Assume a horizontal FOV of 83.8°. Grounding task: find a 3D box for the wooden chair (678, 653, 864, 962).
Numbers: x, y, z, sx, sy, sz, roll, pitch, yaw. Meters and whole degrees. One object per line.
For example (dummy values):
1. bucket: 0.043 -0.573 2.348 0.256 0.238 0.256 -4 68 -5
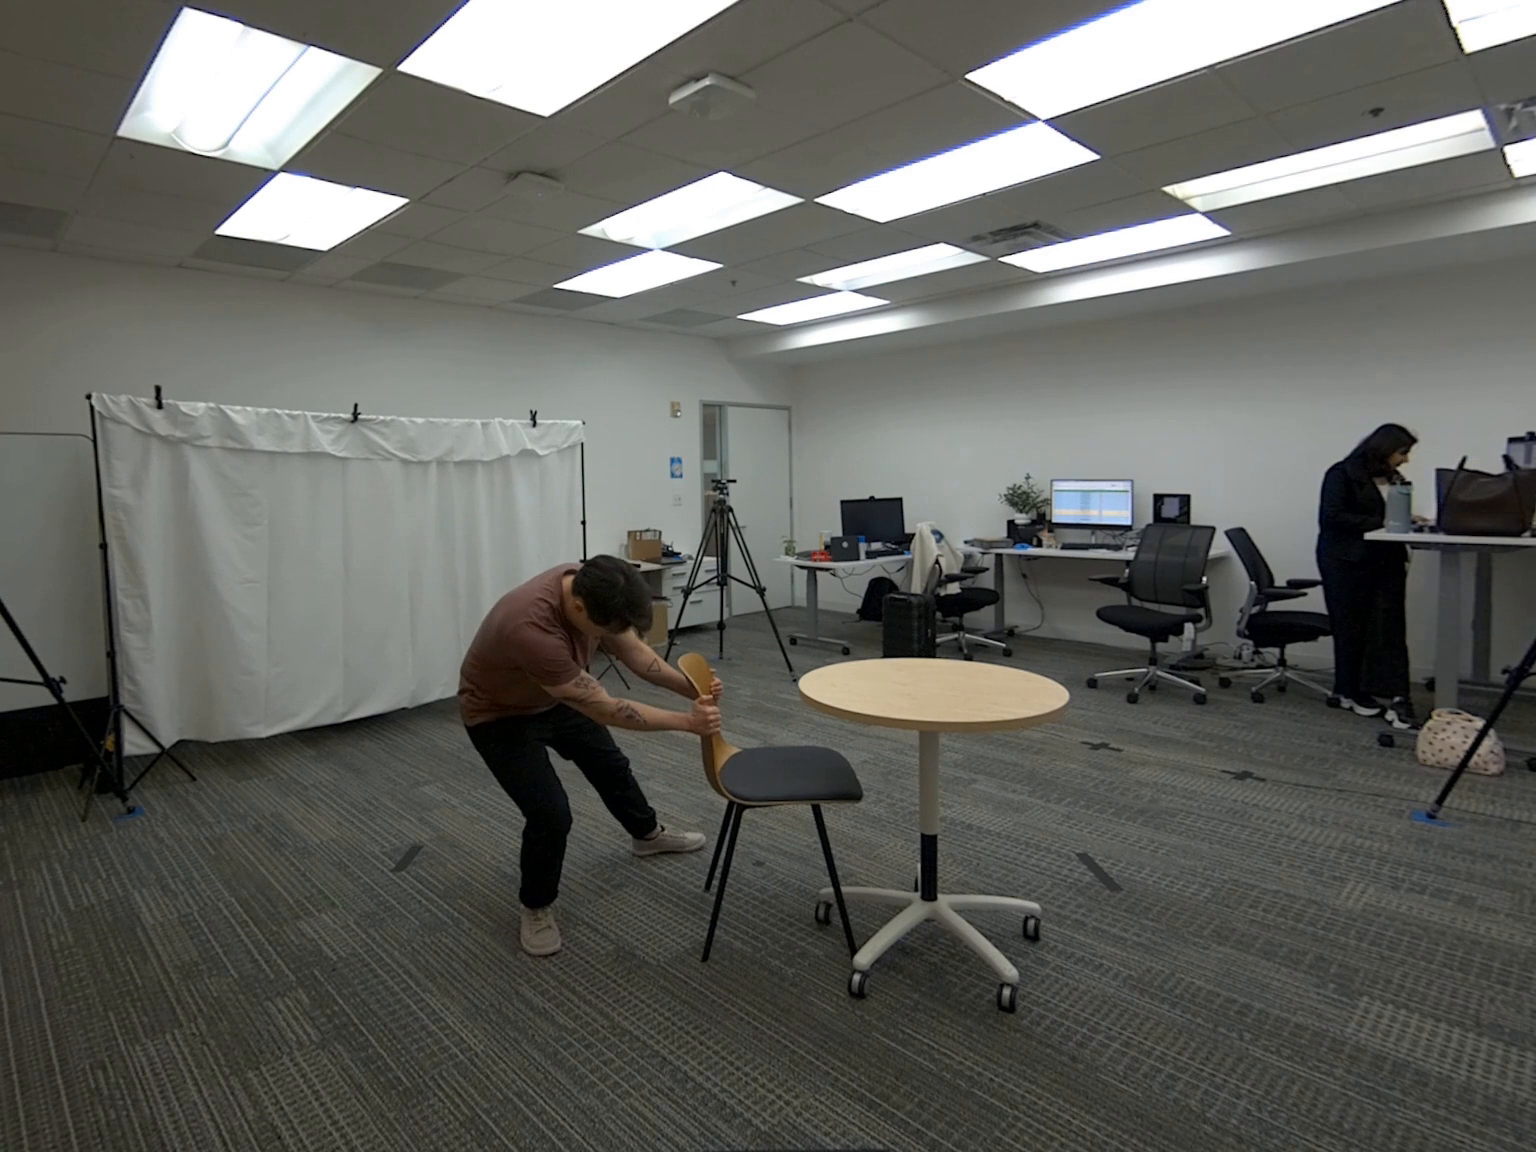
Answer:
1. wooden chair: 0.021 0.664 2.684 0.522 0.875 0.480 -5 3 -2
